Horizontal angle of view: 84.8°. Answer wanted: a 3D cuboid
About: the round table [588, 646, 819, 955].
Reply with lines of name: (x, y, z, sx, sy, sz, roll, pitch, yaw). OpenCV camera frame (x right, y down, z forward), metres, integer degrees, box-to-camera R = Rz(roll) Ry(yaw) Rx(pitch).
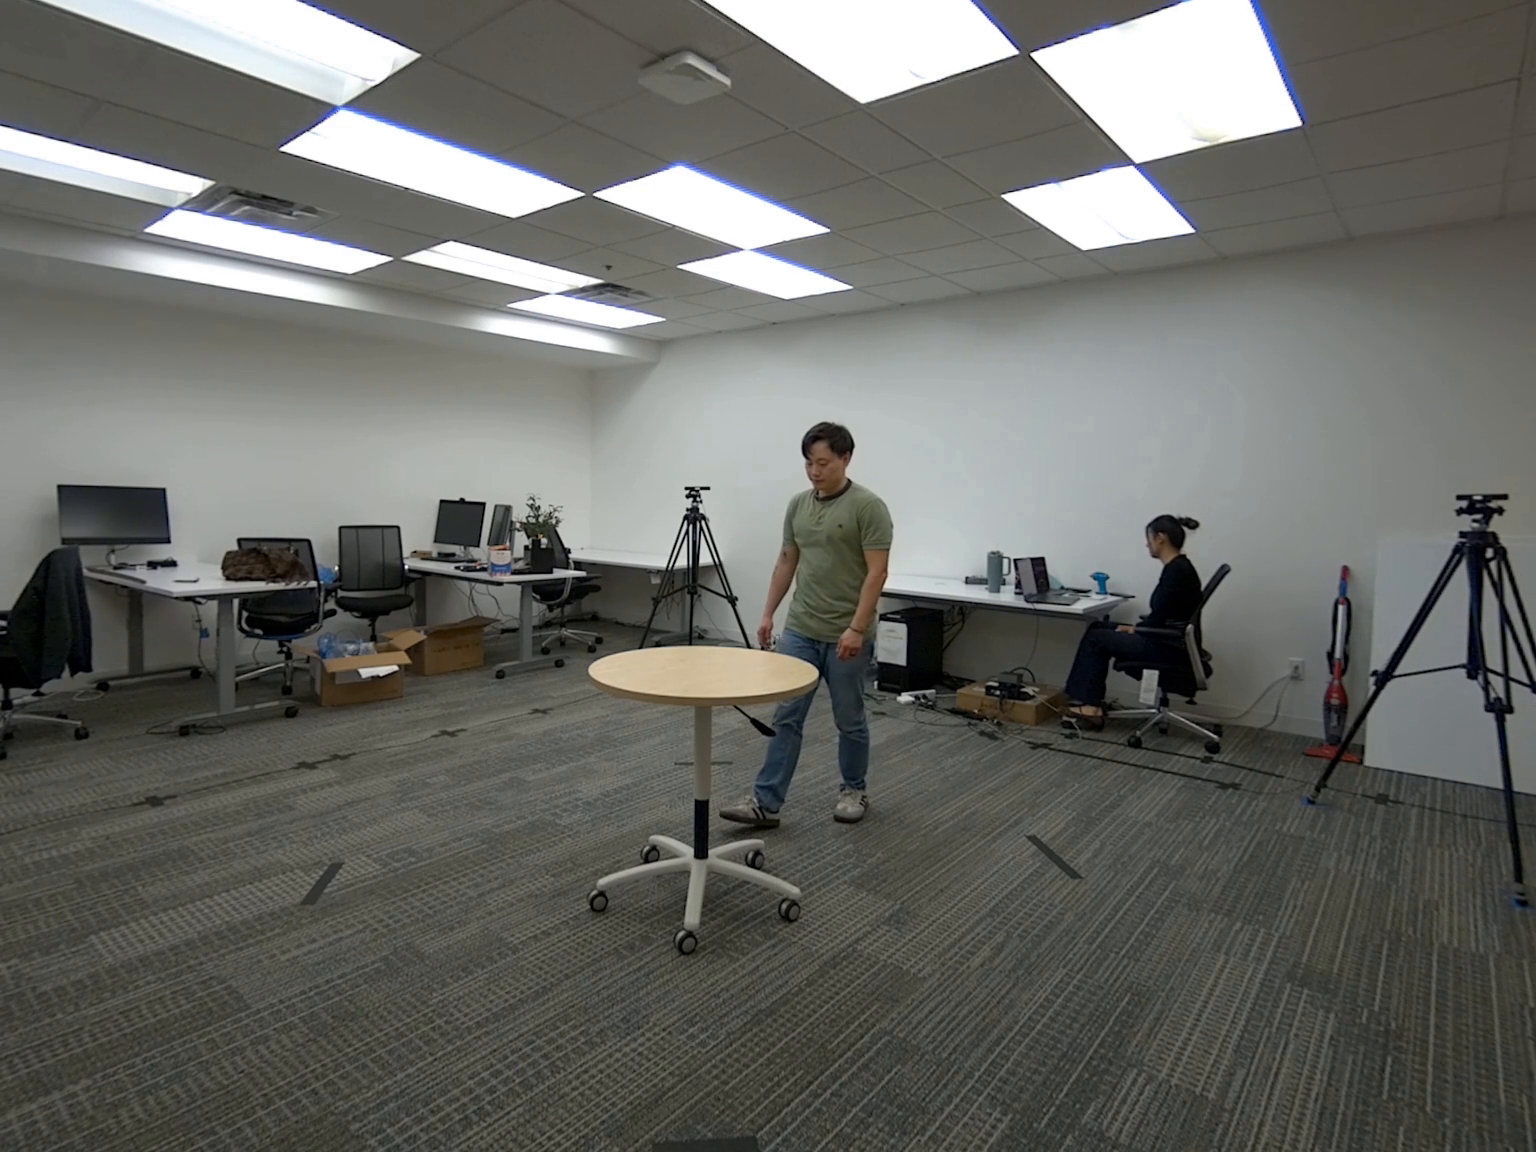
round table: (-0.235, 0.701, 2.867, 0.763, 0.791, 0.768, 1, 5, -2)
